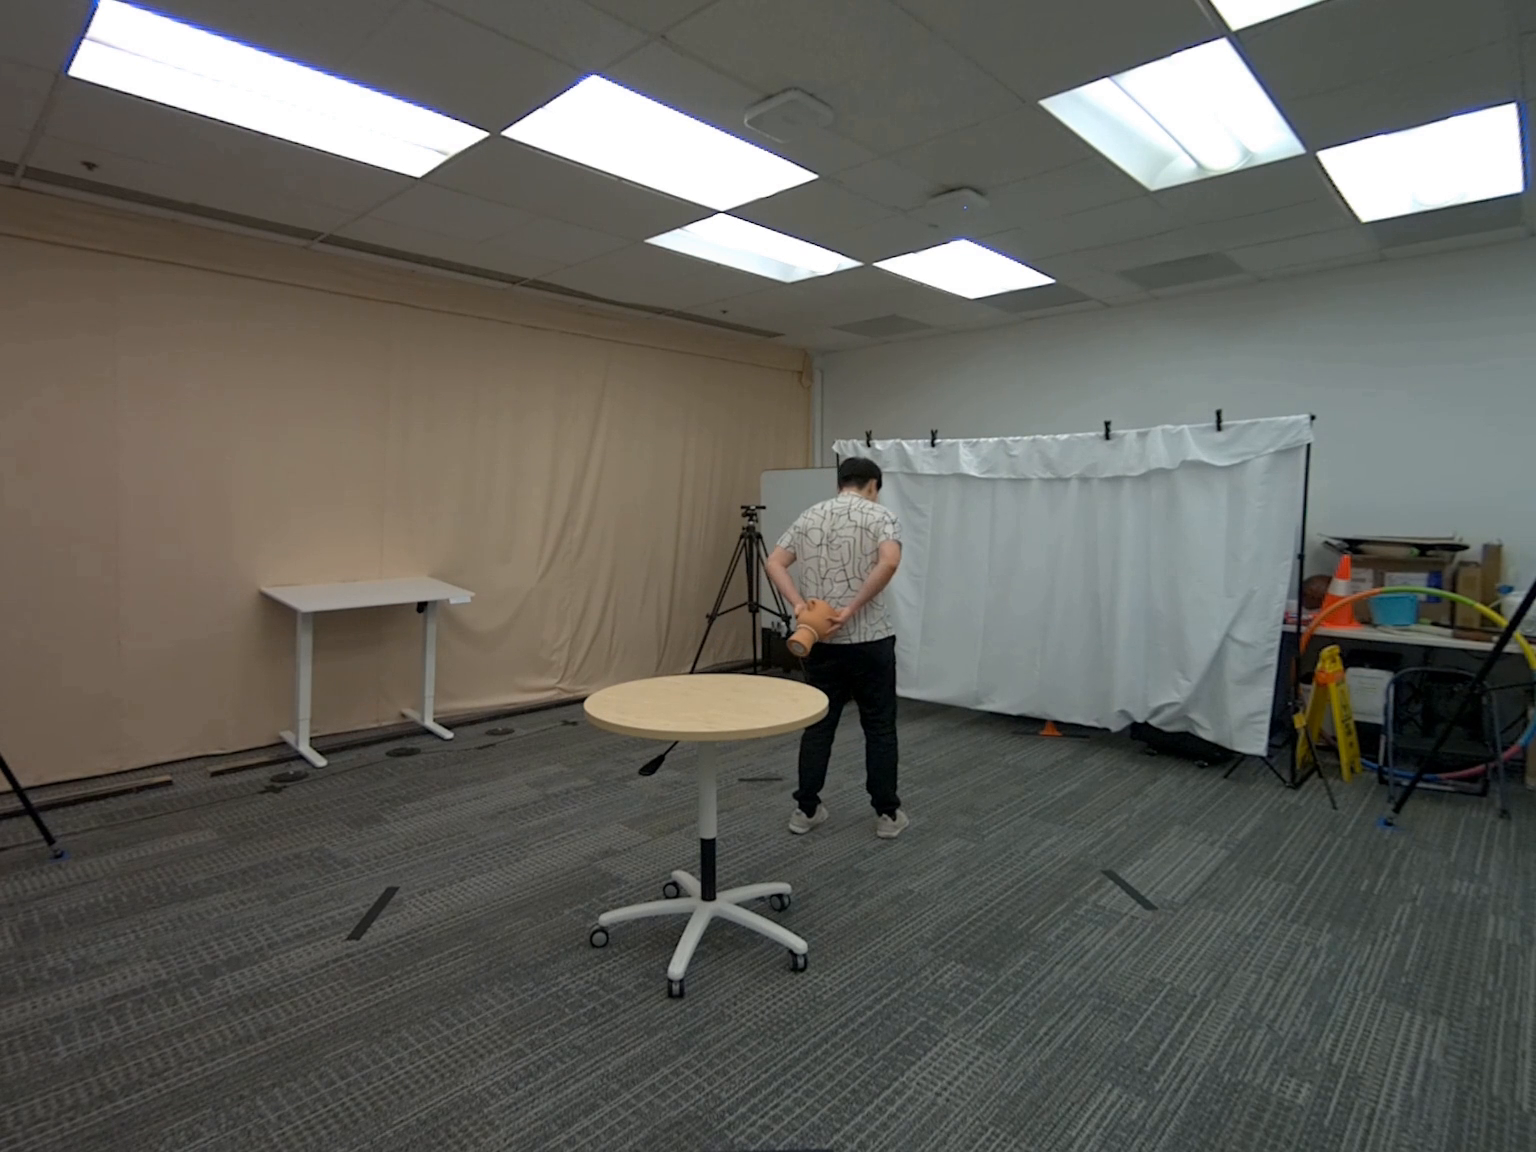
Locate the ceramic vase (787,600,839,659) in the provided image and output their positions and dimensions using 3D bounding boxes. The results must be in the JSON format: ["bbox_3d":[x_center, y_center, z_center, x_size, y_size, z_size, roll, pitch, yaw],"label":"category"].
[{"bbox_3d":[0.165,0.213,3.381,0.218,0.159,0.135,-52,1,-35],"label":"ceramic vase"}]
